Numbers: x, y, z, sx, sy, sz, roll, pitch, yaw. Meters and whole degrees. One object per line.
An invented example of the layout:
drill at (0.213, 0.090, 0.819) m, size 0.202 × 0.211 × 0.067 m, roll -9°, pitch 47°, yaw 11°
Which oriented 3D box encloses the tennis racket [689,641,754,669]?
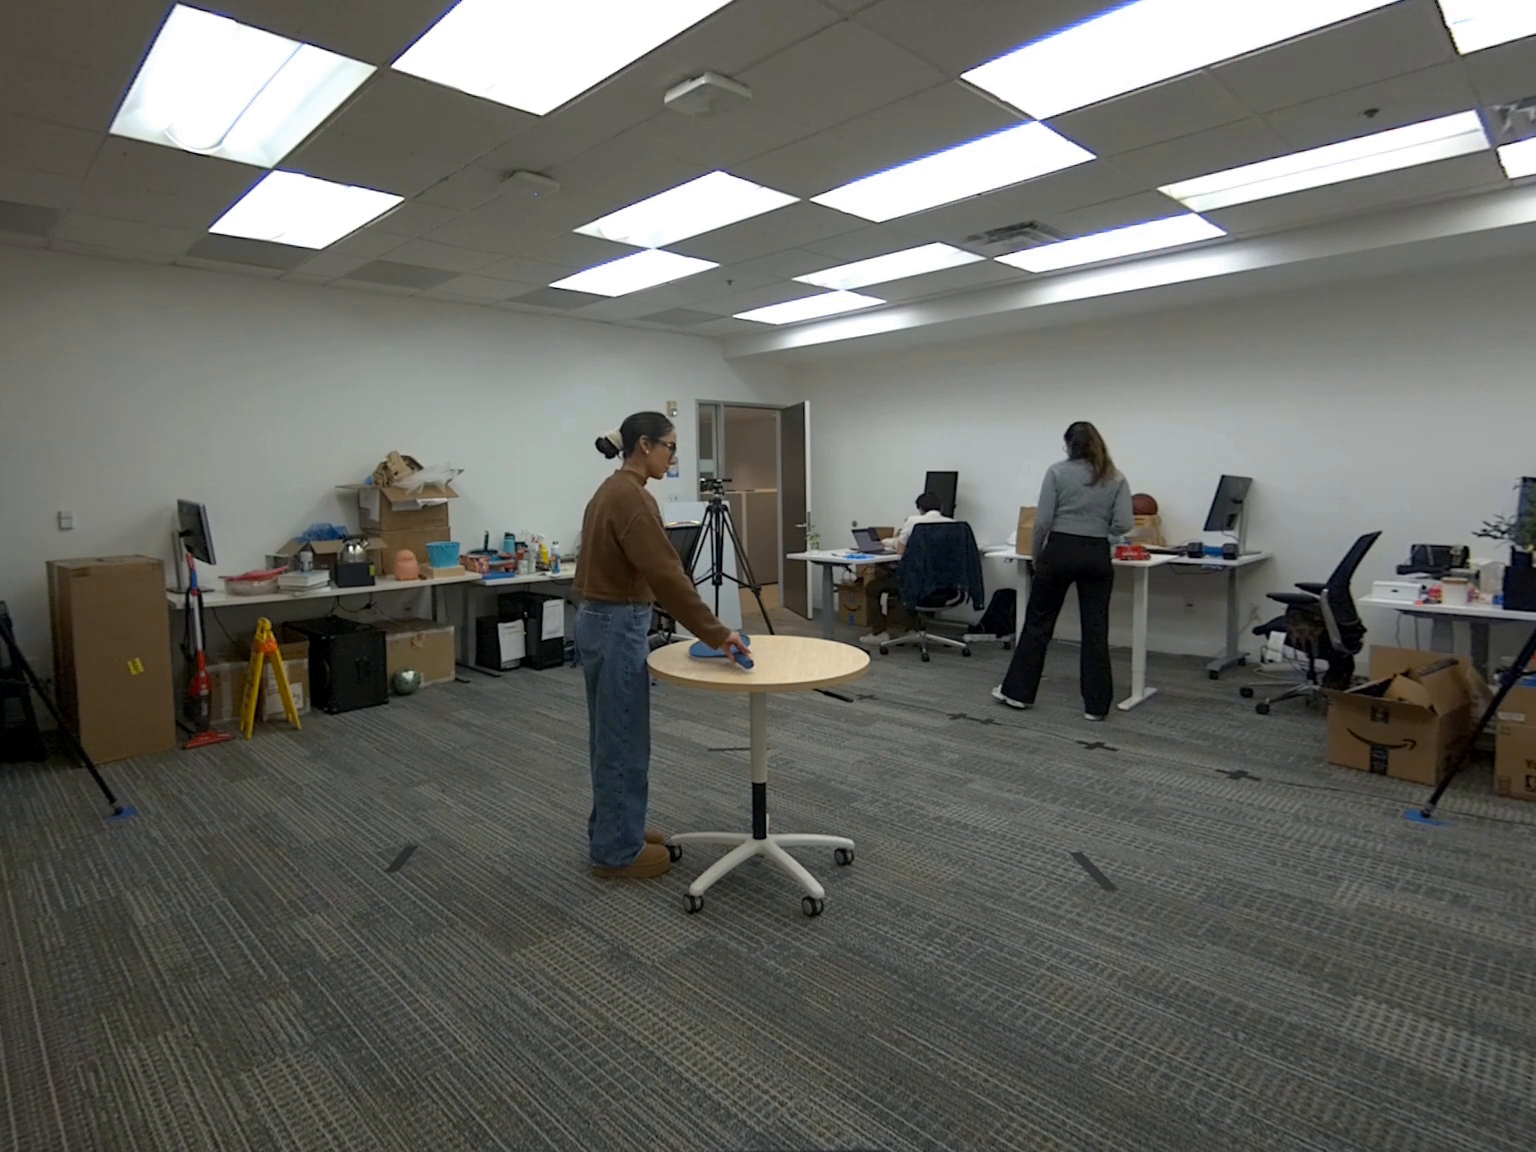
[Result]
tennis racket at (-0.145, 0.251, 2.875) m, size 0.212 × 0.031 × 0.441 m, roll -16°, pitch 11°, yaw -14°
